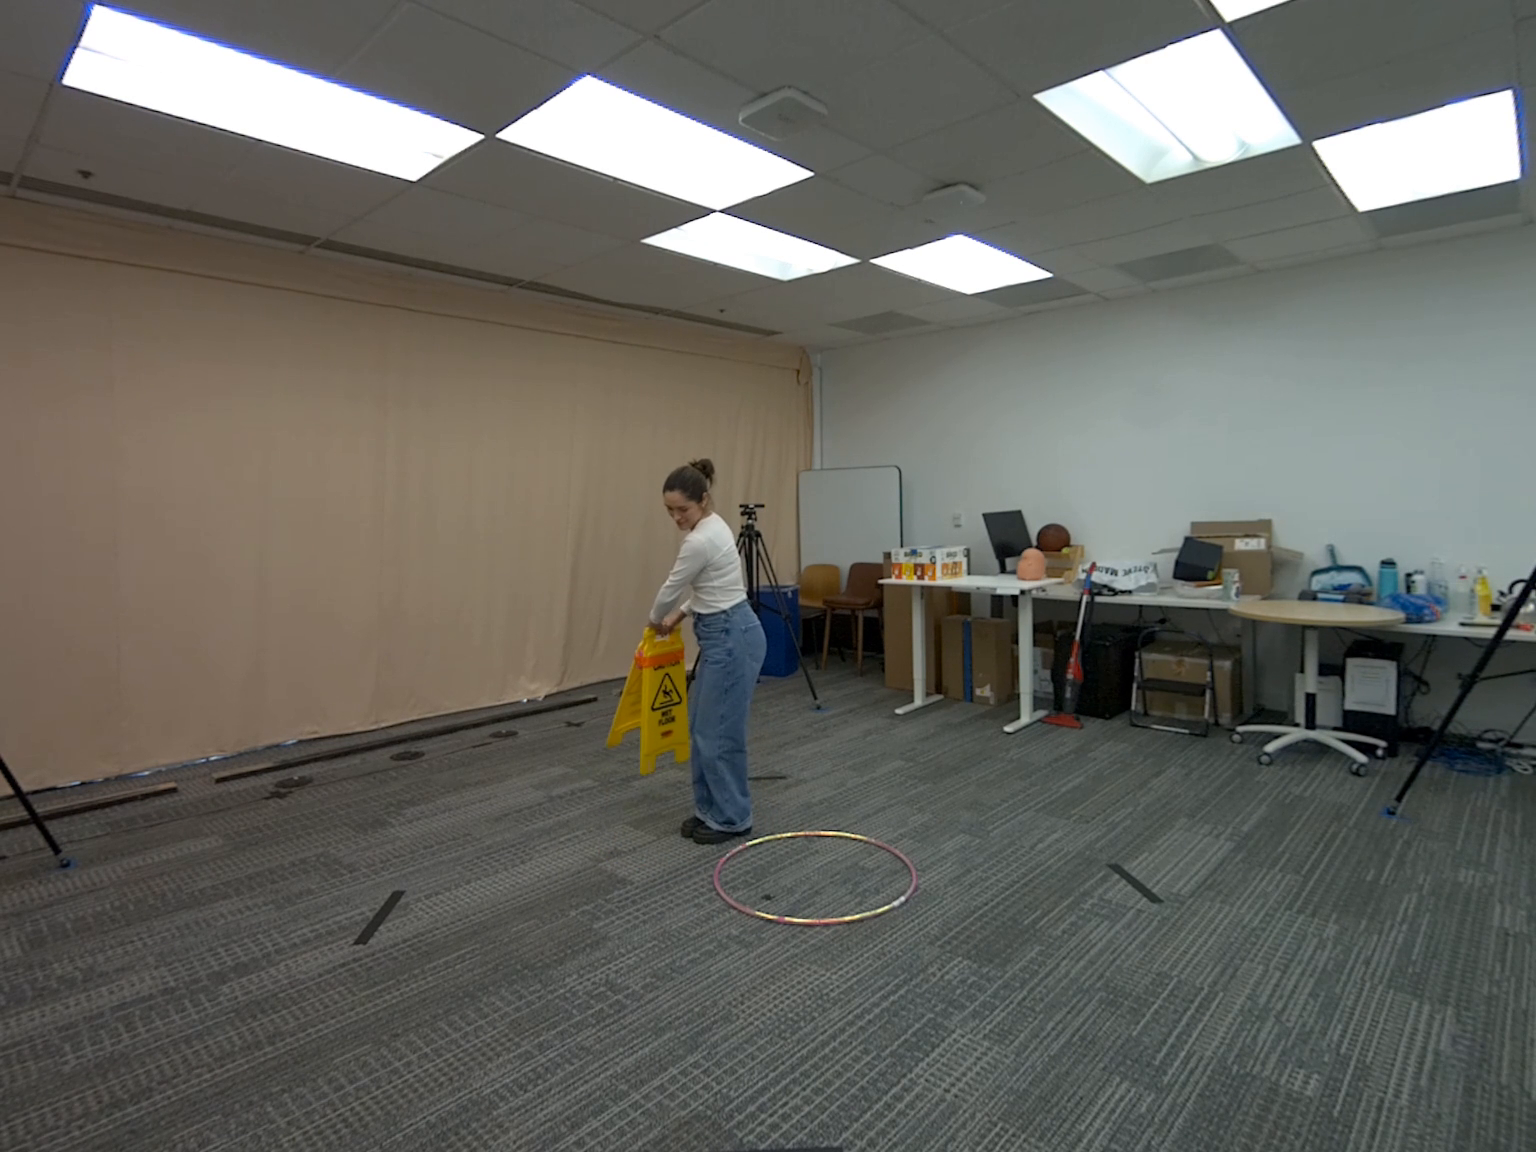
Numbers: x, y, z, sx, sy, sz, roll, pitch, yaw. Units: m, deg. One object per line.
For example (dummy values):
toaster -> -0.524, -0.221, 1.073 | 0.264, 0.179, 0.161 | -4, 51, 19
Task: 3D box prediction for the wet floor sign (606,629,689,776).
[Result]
wet floor sign -> -0.527, 0.521, 3.788 | 0.274, 0.641, 0.300 | -7, 23, -45
